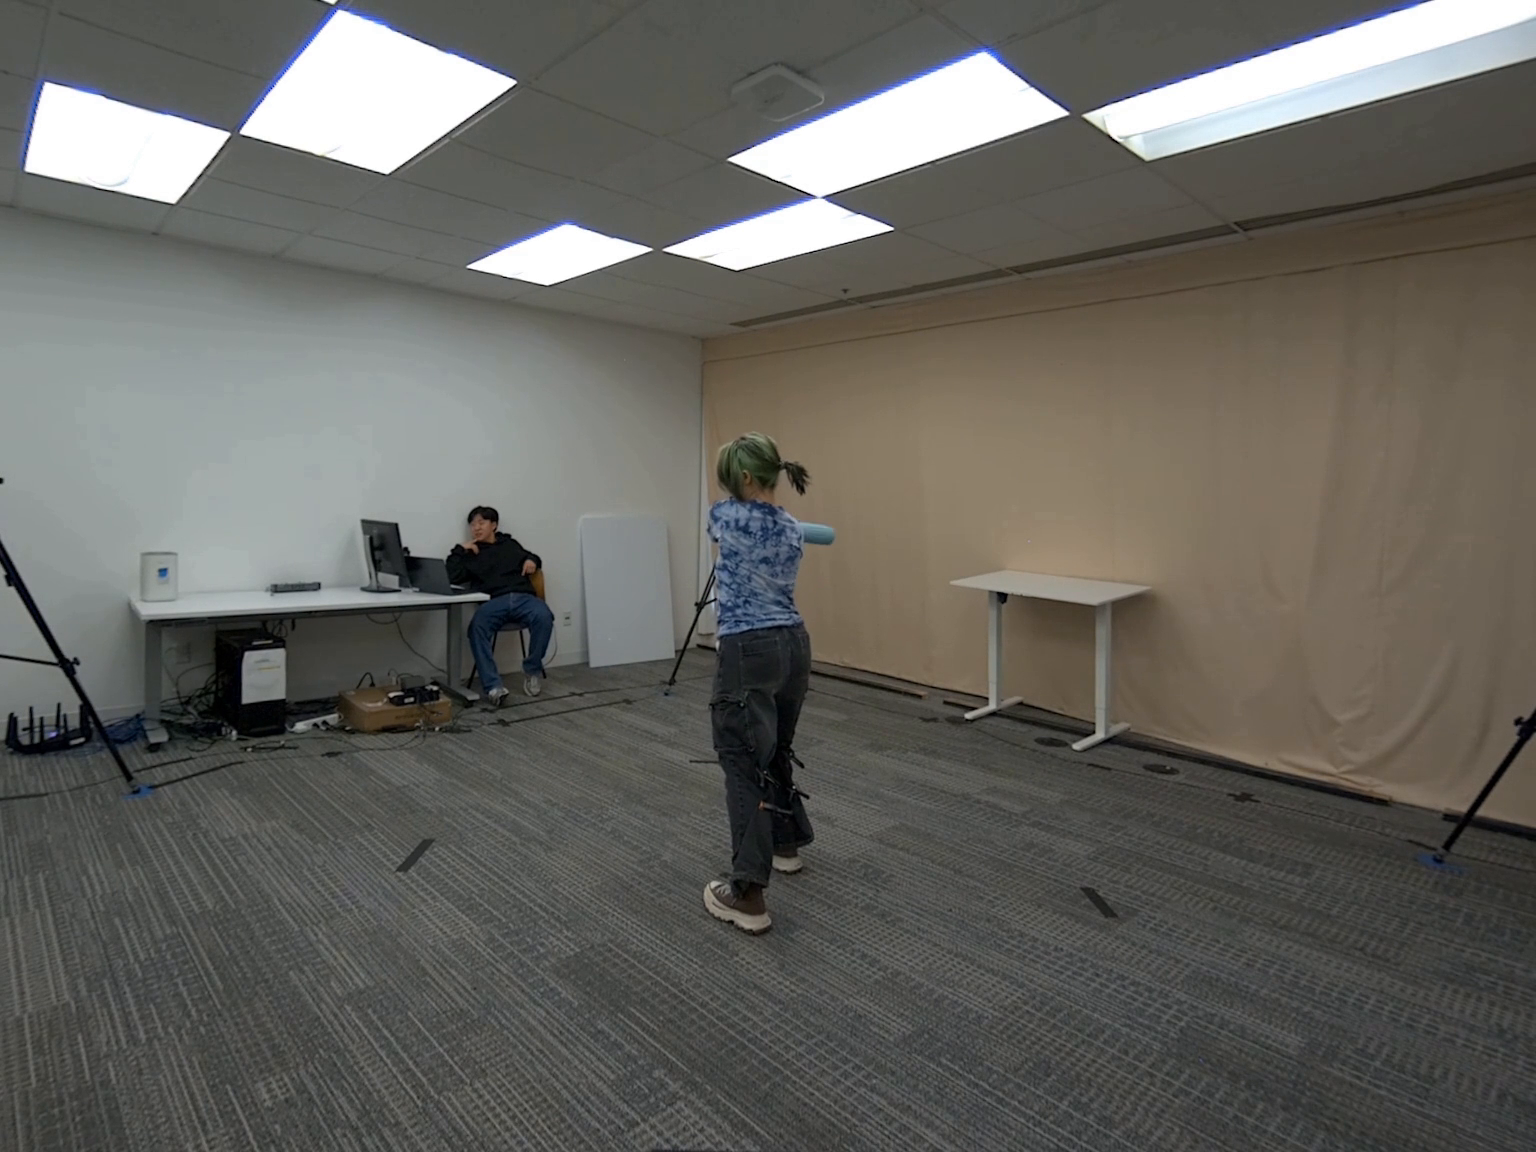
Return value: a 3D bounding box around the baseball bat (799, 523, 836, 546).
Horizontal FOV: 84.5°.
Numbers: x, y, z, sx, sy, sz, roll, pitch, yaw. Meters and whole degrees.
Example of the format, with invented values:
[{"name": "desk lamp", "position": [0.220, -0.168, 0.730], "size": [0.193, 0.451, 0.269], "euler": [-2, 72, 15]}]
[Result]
[{"name": "baseball bat", "position": [0.035, -0.202, 3.649], "size": [0.532, 0.089, 0.091], "euler": [6, 2, -27]}]
